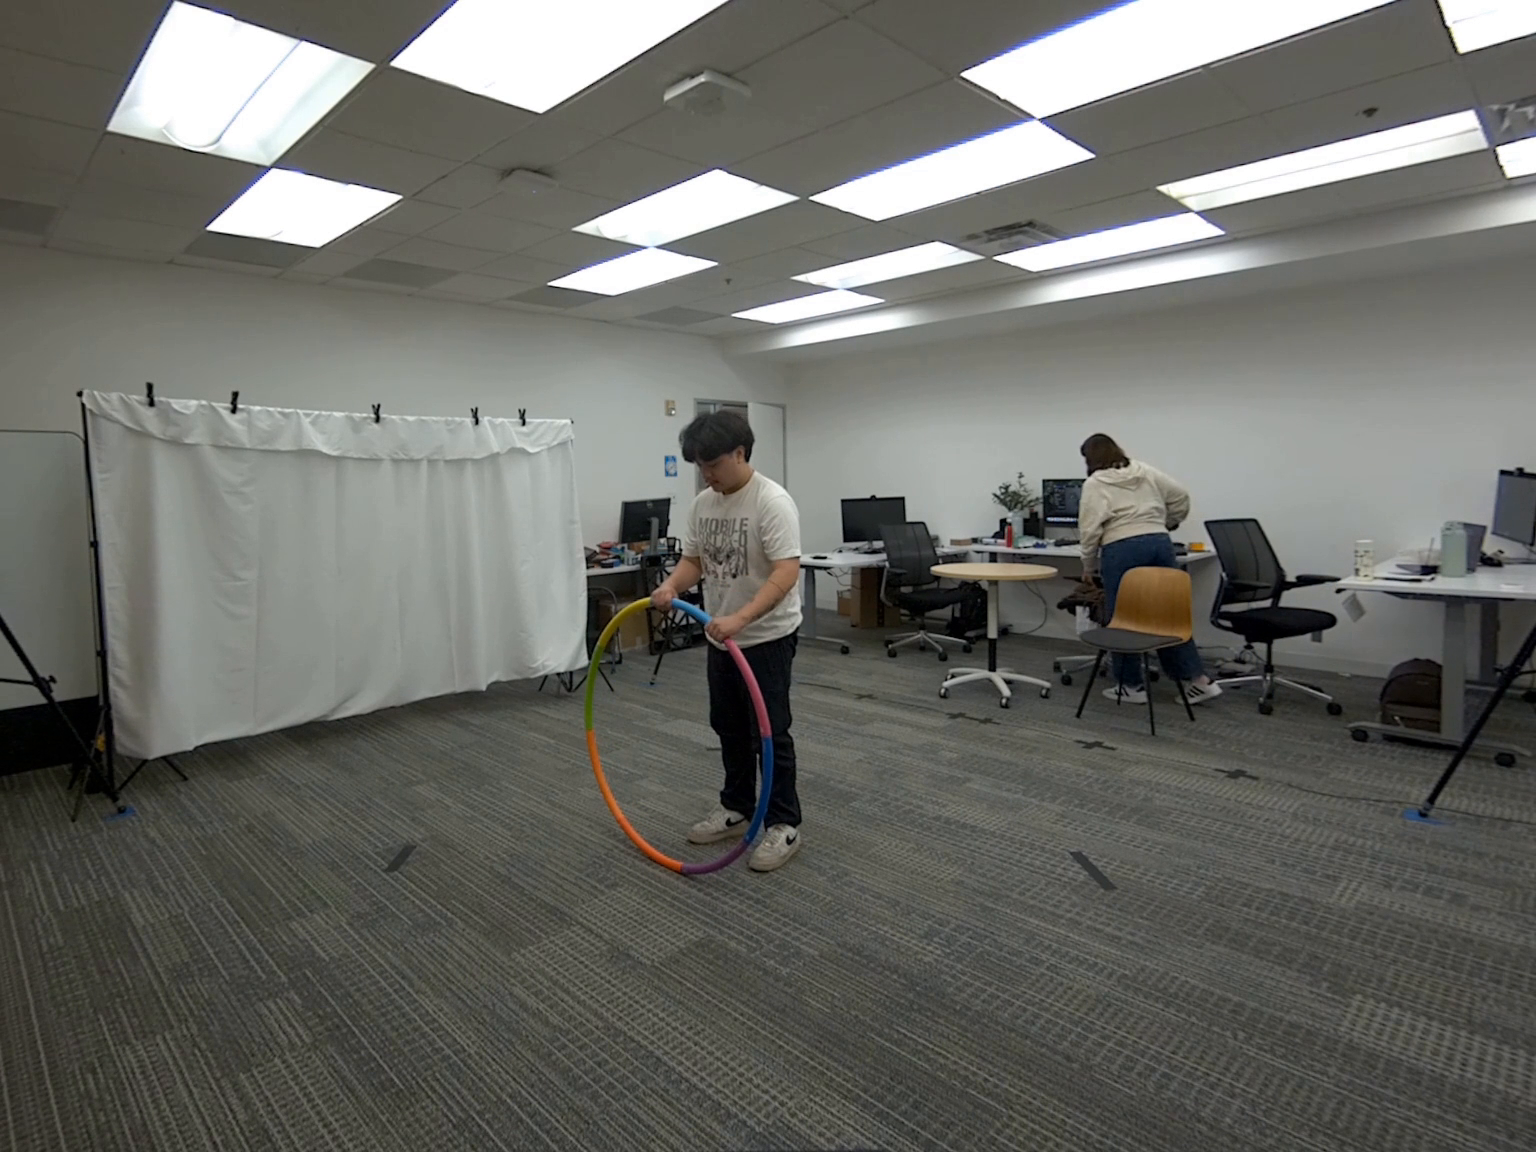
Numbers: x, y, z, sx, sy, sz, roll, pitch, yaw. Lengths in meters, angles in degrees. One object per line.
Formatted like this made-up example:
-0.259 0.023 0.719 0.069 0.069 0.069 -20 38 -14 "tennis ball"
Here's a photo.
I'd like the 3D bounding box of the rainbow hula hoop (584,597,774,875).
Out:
-0.356 0.564 3.062 1.016 0.983 0.050 4 4 45 "rainbow hula hoop"
